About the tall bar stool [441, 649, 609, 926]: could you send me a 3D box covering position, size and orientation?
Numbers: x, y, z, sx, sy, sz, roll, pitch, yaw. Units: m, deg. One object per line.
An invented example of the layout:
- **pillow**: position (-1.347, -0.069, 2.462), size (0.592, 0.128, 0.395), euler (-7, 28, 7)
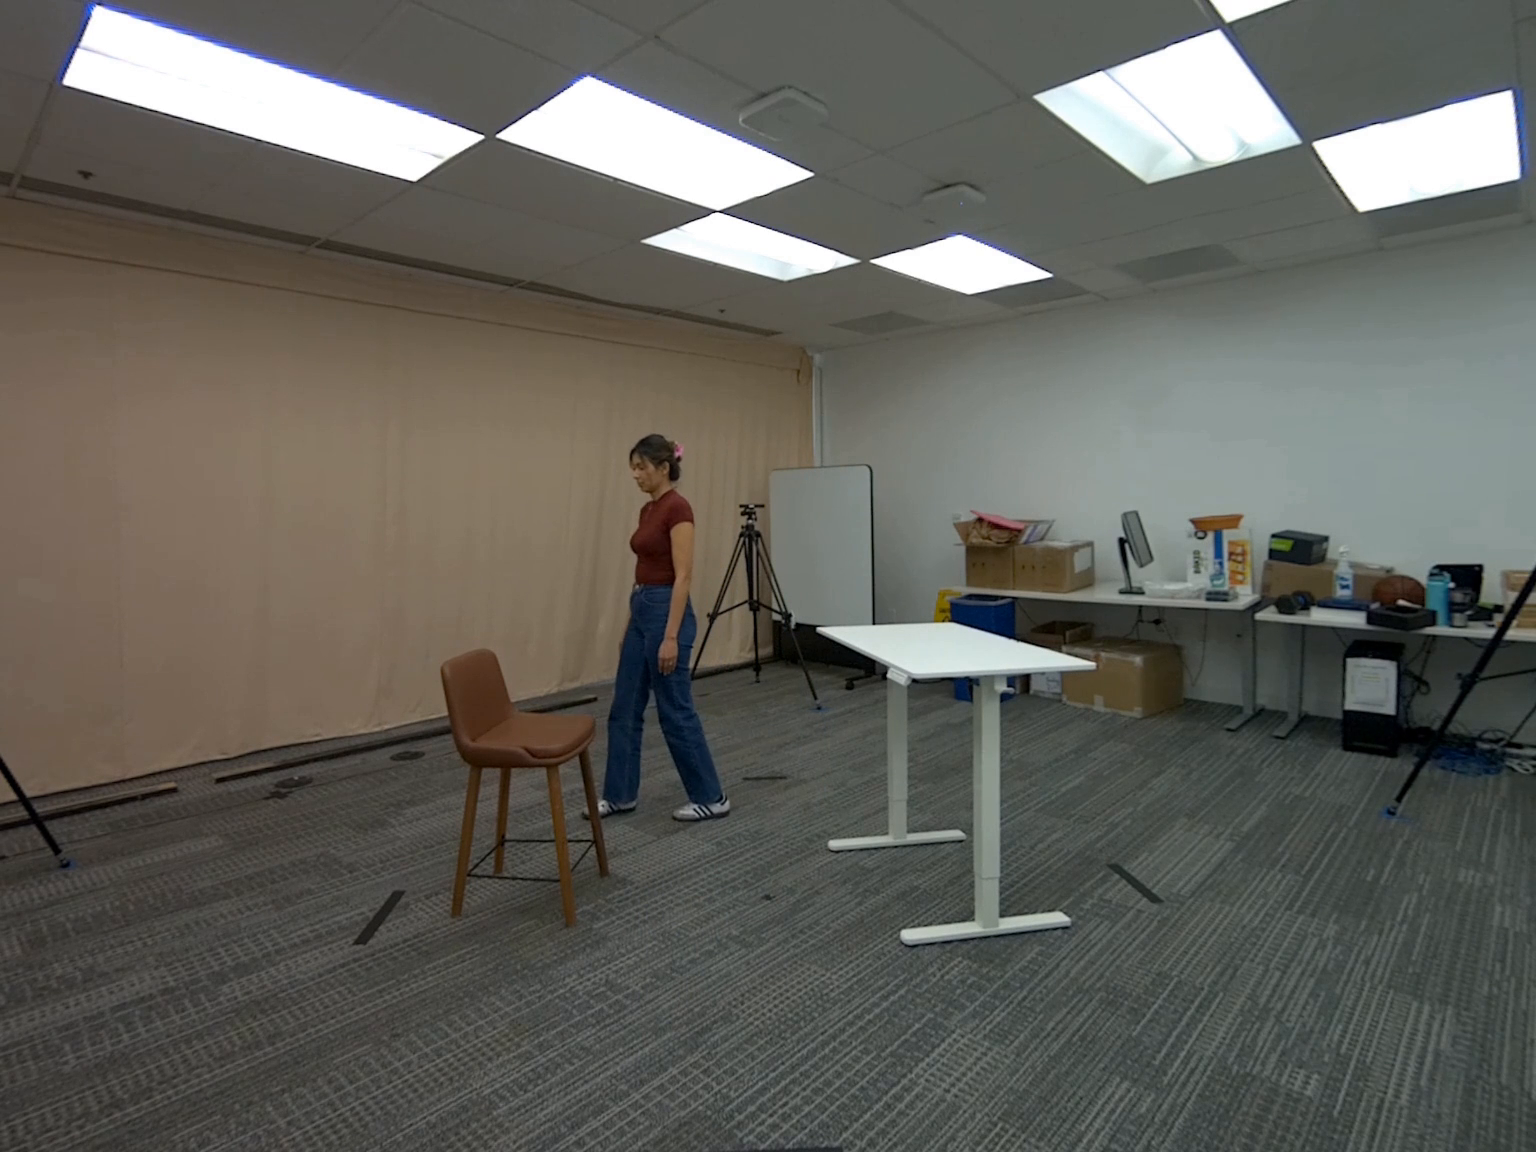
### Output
- **tall bar stool**: position (-0.863, 0.728, 3.017), size (0.473, 0.888, 0.452), euler (-1, 3, 9)
